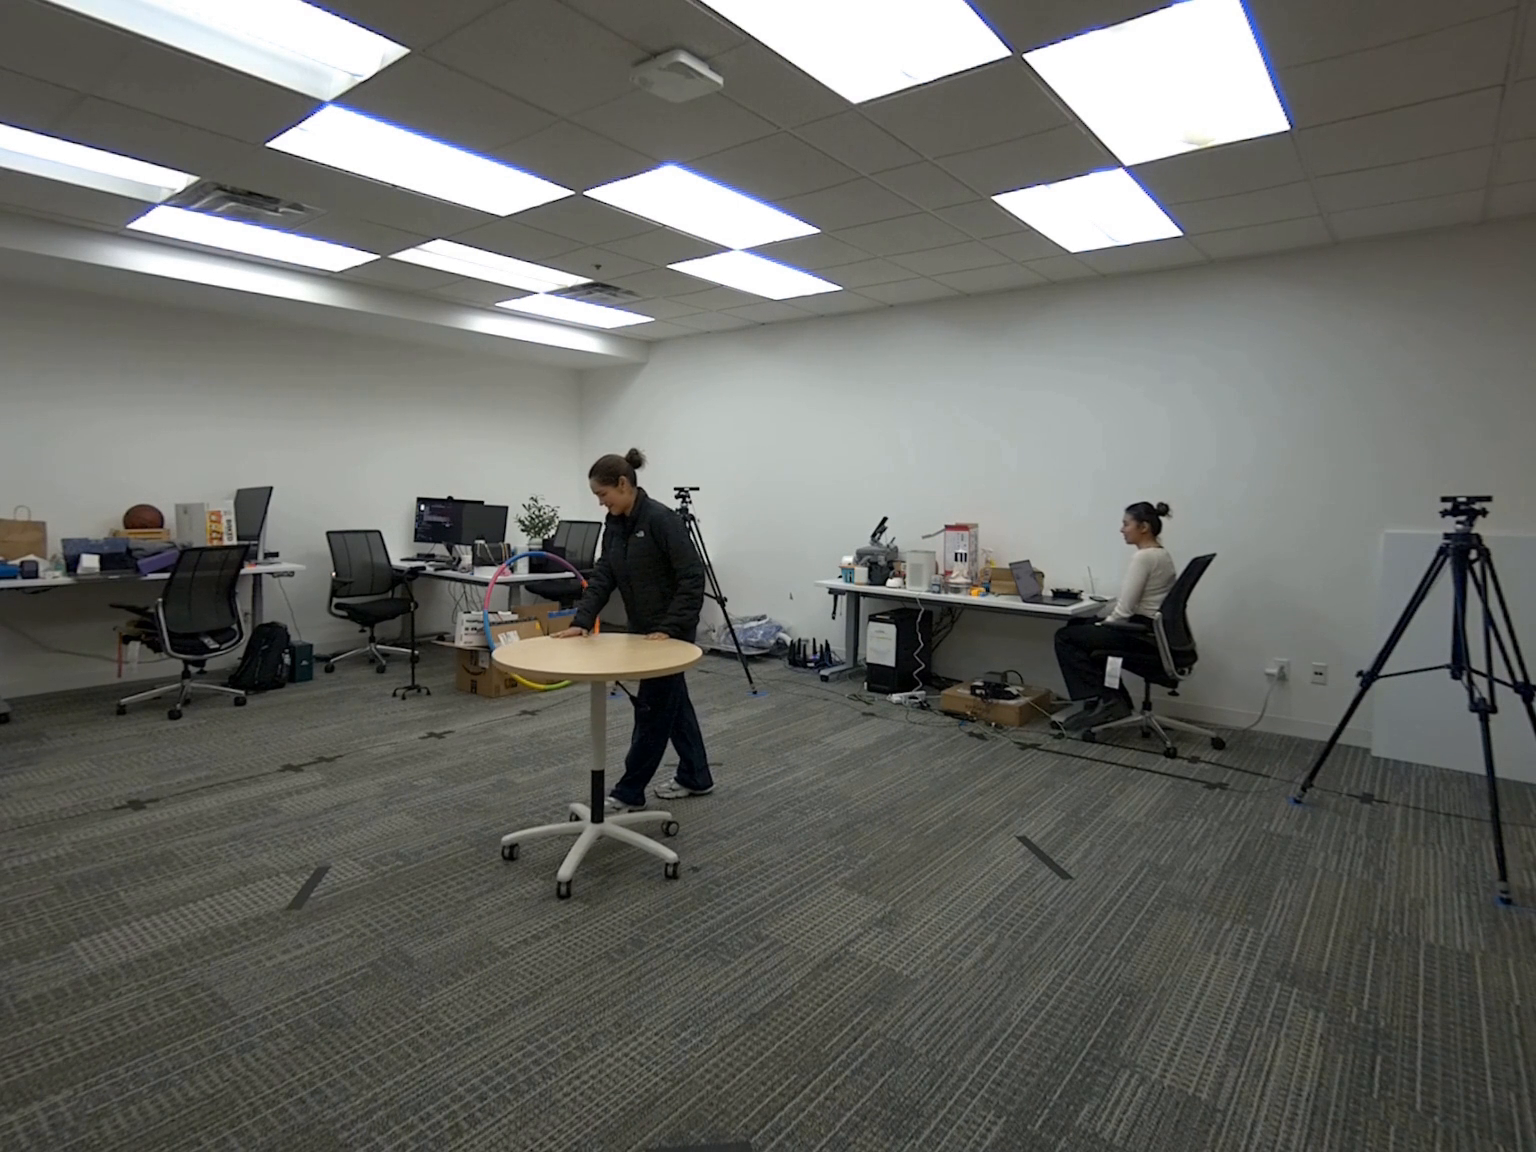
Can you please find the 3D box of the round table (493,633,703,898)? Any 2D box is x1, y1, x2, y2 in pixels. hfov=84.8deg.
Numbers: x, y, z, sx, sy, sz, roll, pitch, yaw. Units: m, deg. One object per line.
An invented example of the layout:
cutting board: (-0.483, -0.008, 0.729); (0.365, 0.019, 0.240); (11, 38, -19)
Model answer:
round table: (-0.624, 0.658, 3.192); (0.784, 0.783, 0.789); (1, 5, -2)
